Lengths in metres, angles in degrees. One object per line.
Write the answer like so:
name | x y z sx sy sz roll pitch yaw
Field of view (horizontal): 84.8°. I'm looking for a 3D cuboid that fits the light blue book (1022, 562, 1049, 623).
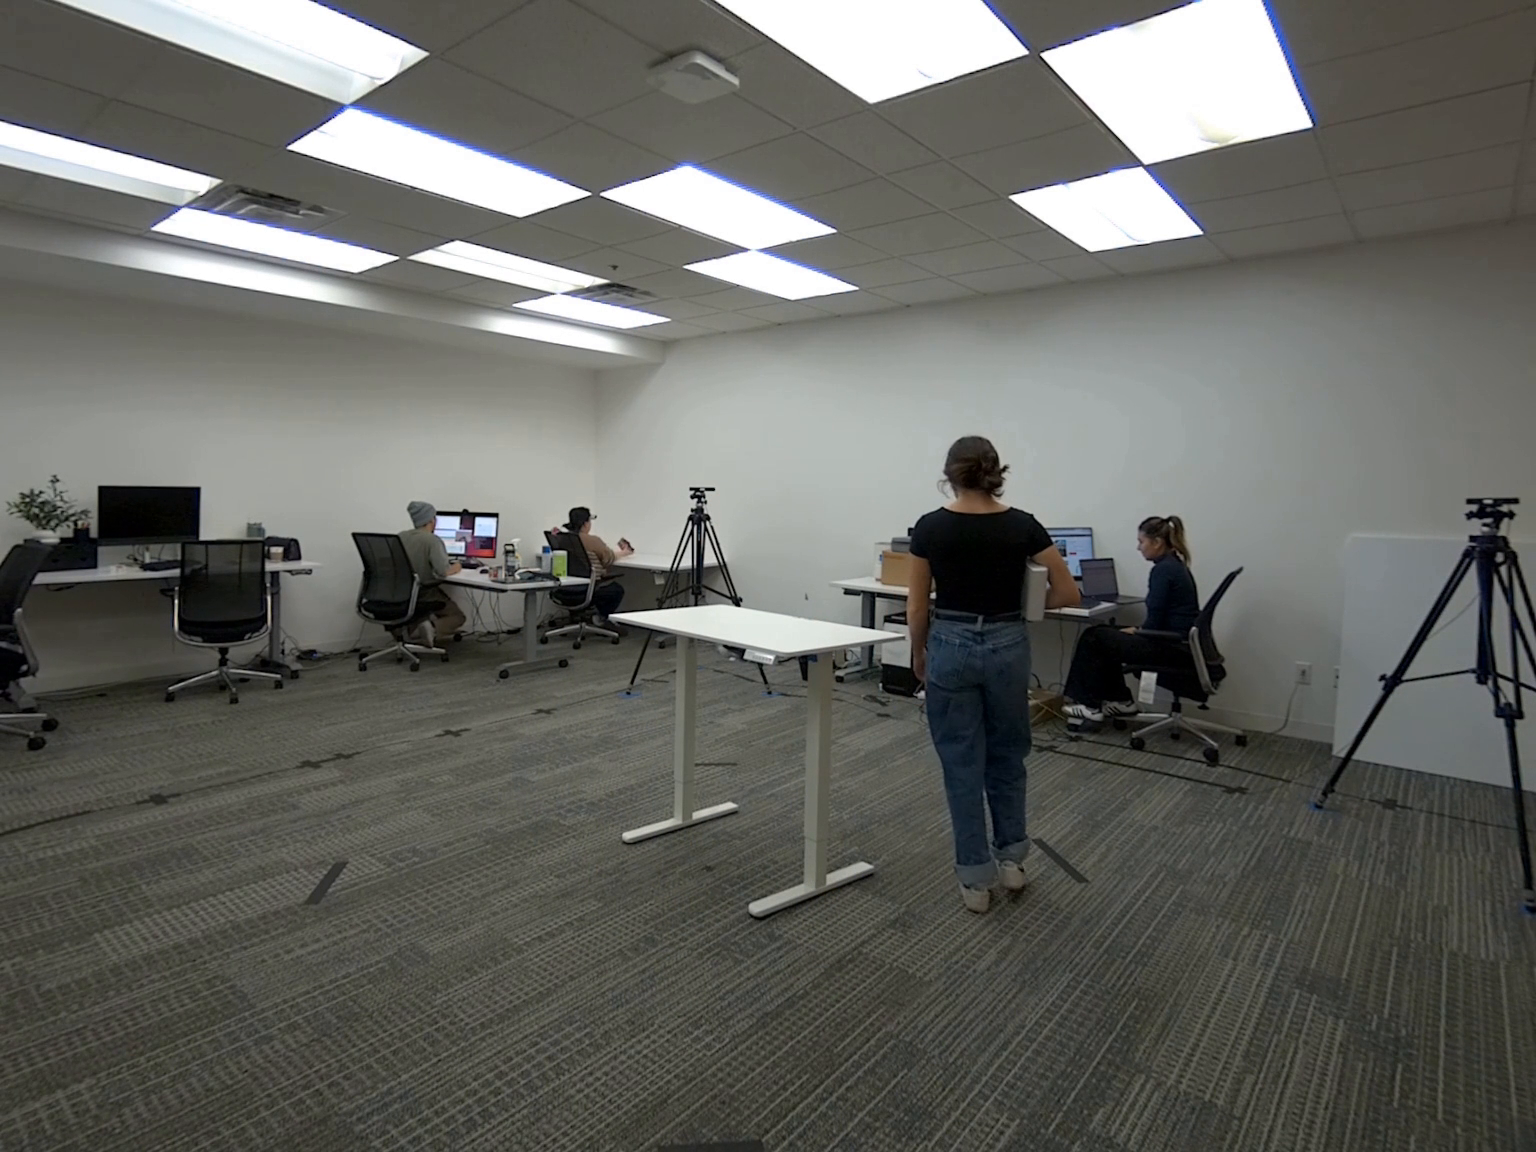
light blue book | 0.873 0.007 2.912 0.059 0.187 0.267 -4 22 -4
